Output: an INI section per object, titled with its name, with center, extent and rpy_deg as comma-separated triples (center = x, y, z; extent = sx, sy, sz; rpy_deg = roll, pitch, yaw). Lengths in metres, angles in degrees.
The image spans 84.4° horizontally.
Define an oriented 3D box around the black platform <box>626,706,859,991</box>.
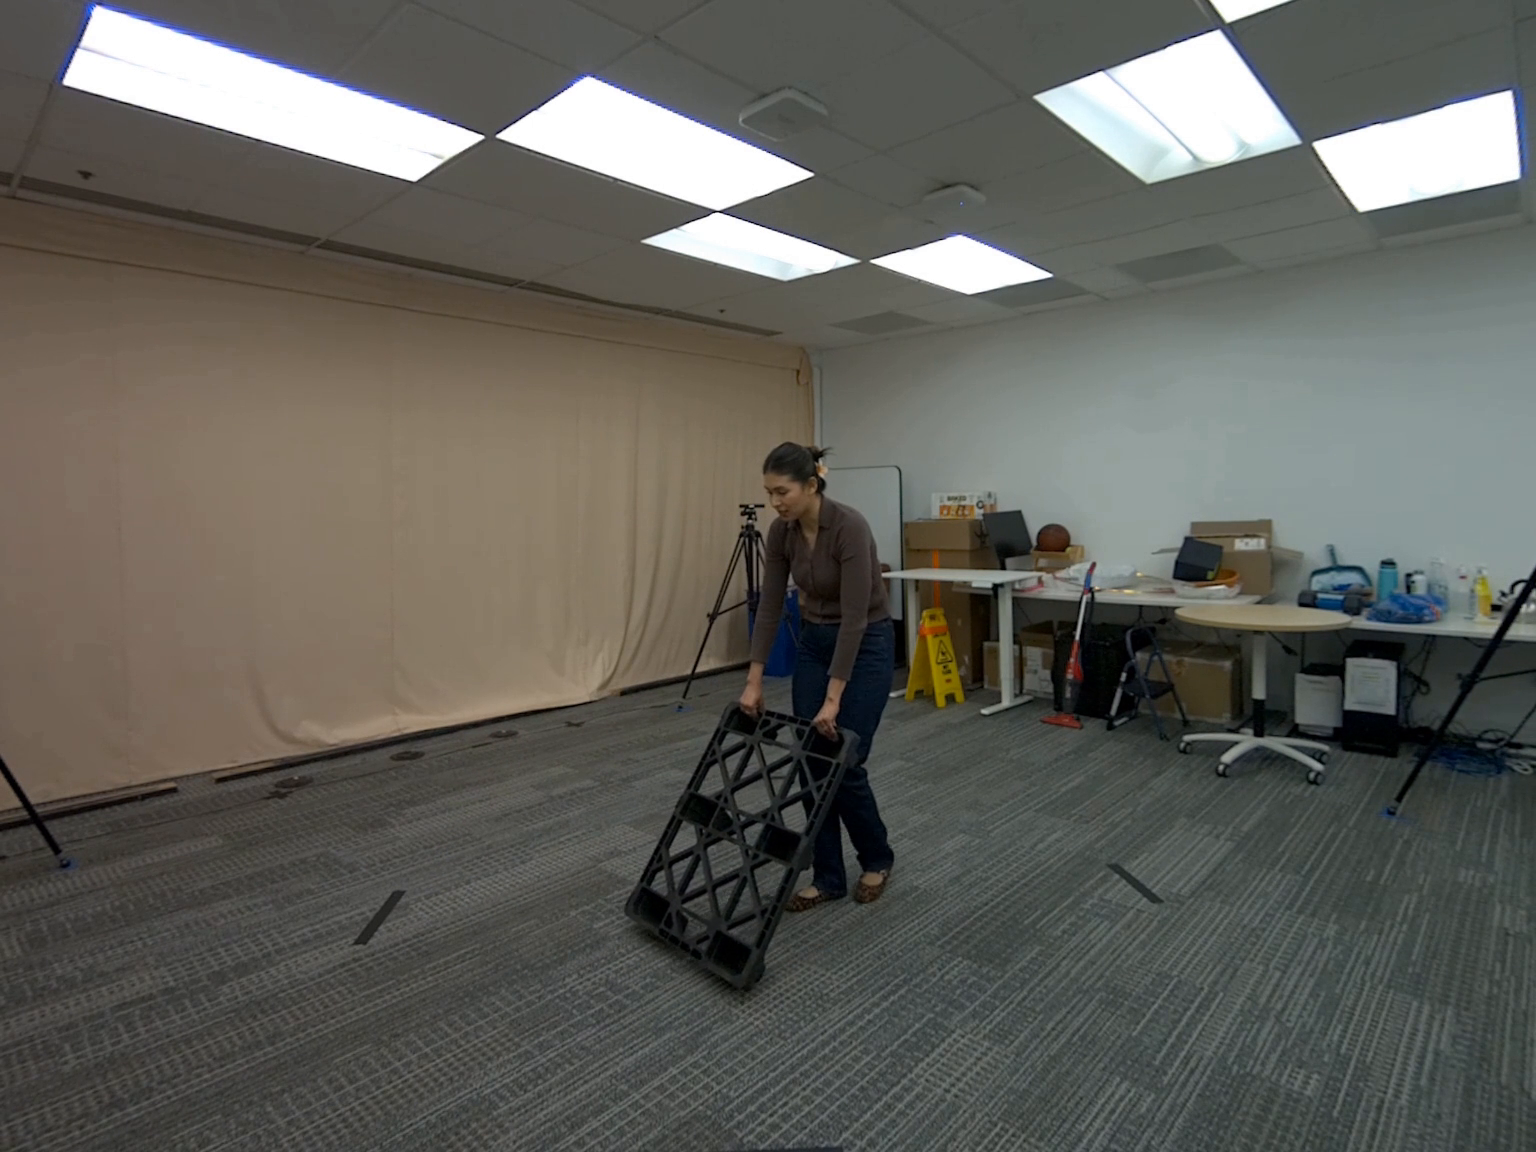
[black platform]
center = -0.063, 0.829, 2.719
extent = 0.625, 0.806, 0.138
rpy_deg = 5, -30, 48
